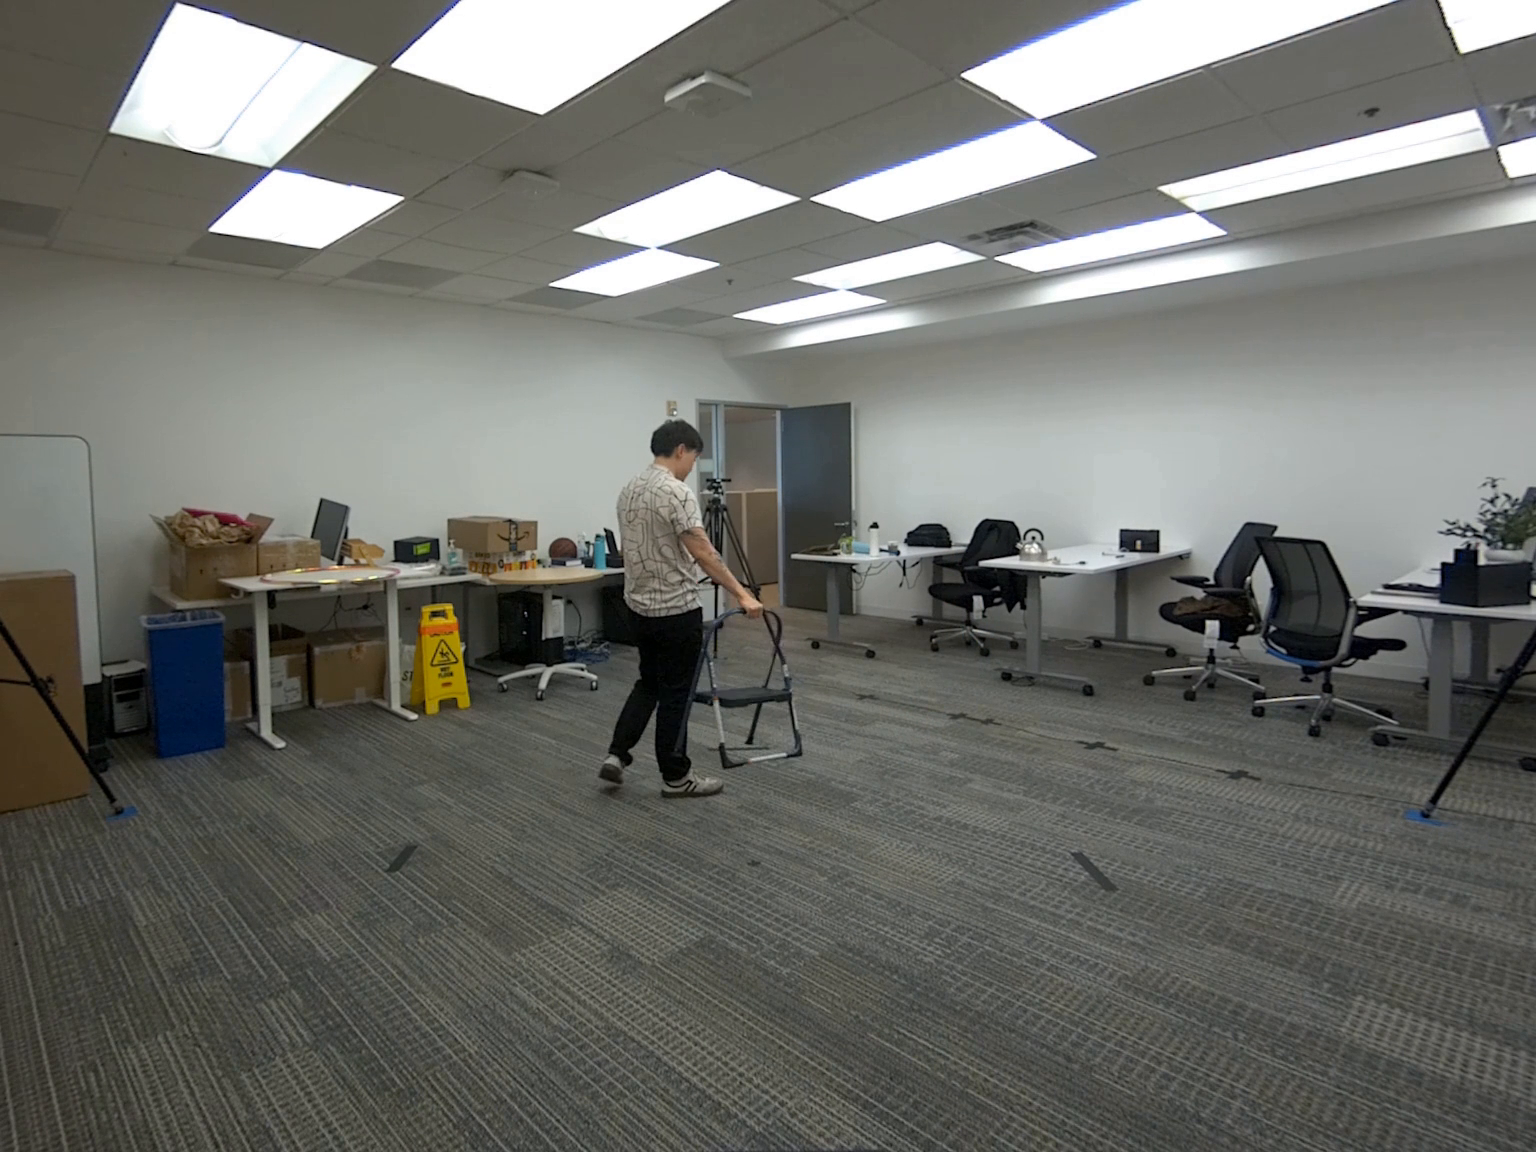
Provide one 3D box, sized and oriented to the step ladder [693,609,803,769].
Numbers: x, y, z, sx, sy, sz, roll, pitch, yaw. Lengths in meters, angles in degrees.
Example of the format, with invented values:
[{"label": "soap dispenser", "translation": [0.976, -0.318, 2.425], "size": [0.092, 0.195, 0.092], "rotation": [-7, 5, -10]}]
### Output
[{"label": "step ladder", "translation": [-0.122, 0.430, 3.506], "size": [0.418, 0.607, 0.359], "rotation": [2, -2, -42]}]
